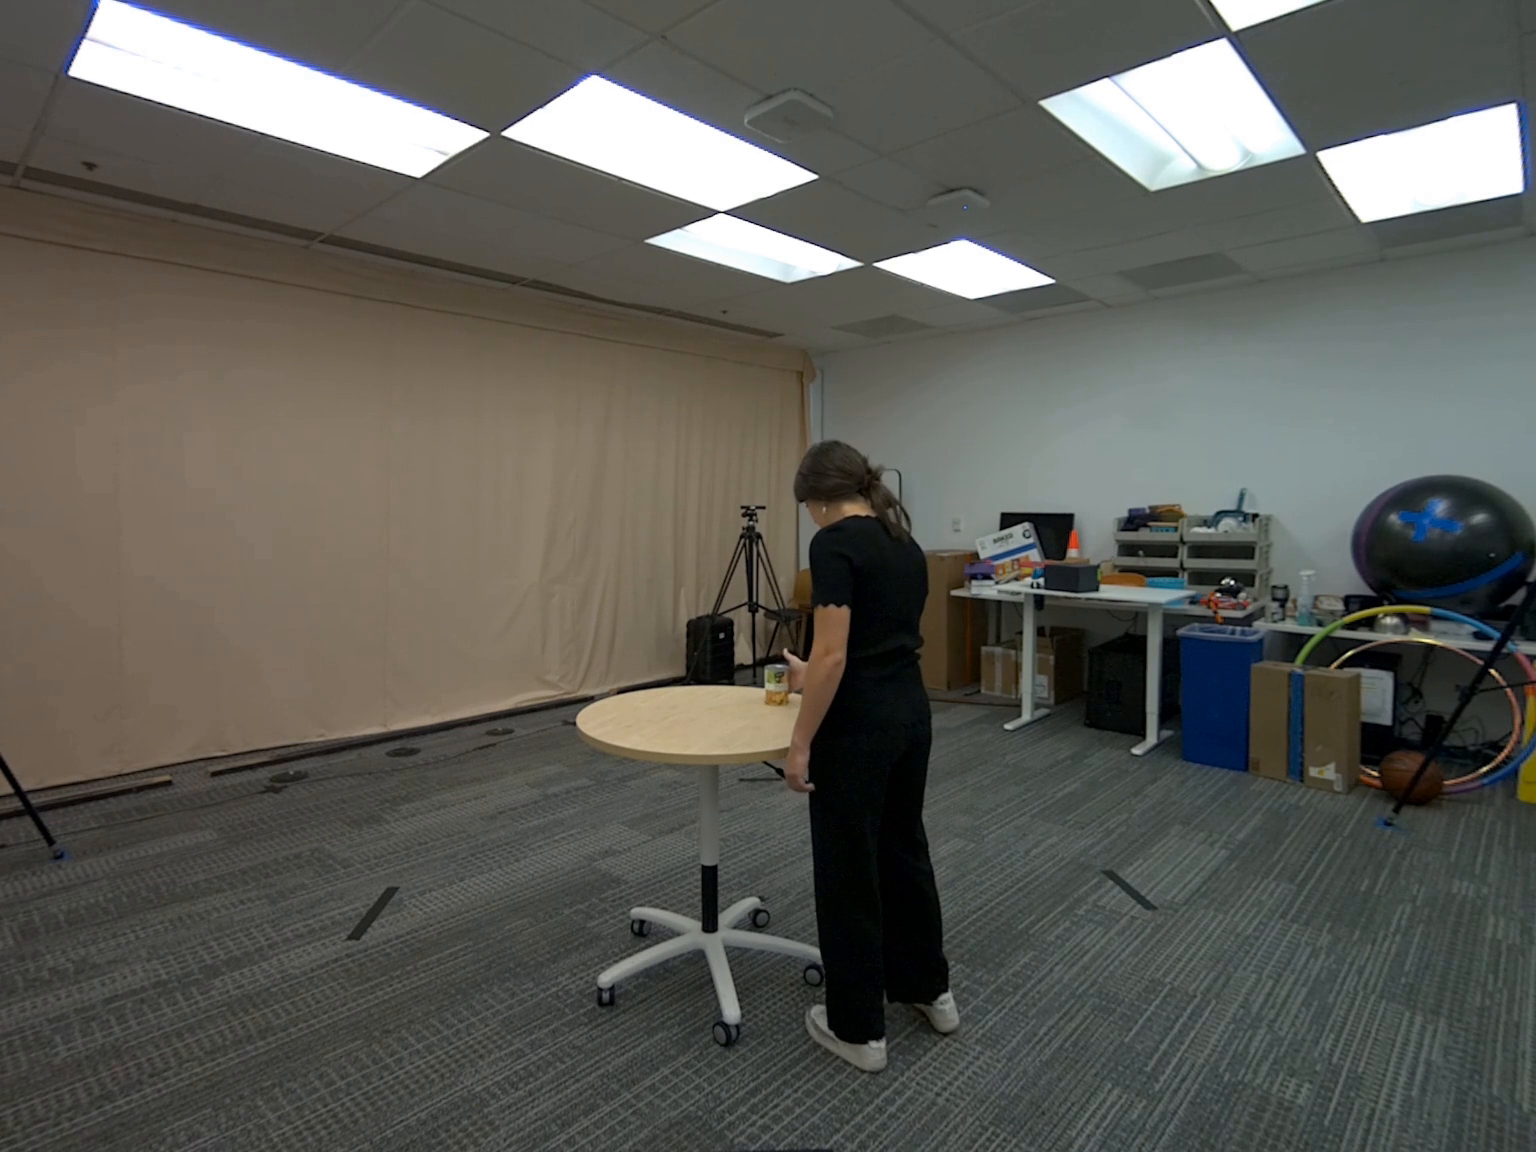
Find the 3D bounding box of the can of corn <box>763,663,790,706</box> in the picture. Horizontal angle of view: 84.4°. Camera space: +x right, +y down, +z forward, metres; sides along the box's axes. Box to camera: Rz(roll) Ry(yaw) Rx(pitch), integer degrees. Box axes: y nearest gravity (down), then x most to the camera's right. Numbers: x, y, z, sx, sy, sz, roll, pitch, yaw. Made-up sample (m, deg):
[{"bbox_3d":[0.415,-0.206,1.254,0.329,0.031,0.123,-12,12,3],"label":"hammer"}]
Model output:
[{"bbox_3d":[0.030,0.339,2.590,0.074,0.111,0.074,1,4,-2],"label":"can of corn"}]
